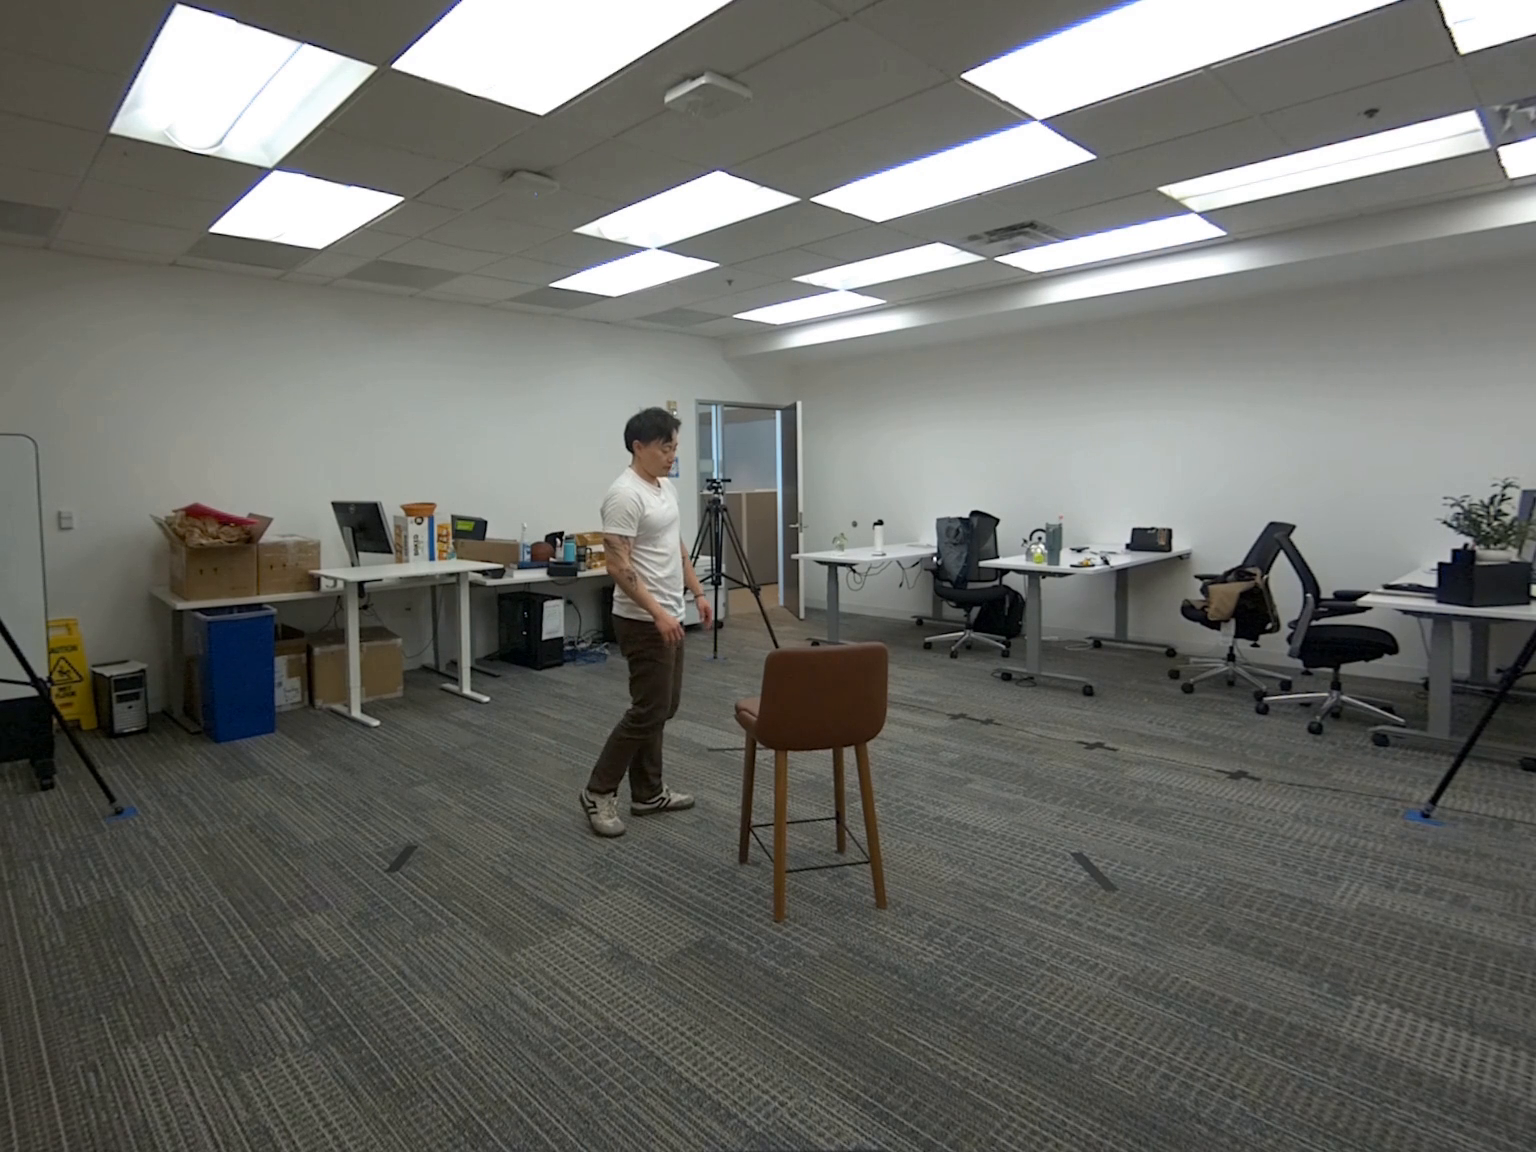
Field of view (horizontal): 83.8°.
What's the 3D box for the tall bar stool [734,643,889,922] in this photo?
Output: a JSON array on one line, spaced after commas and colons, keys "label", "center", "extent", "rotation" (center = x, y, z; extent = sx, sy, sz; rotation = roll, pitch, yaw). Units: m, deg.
[{"label": "tall bar stool", "center": [0.143, 0.627, 2.912], "extent": [0.451, 0.885, 0.476], "rotation": [-2, 6, -14]}]
